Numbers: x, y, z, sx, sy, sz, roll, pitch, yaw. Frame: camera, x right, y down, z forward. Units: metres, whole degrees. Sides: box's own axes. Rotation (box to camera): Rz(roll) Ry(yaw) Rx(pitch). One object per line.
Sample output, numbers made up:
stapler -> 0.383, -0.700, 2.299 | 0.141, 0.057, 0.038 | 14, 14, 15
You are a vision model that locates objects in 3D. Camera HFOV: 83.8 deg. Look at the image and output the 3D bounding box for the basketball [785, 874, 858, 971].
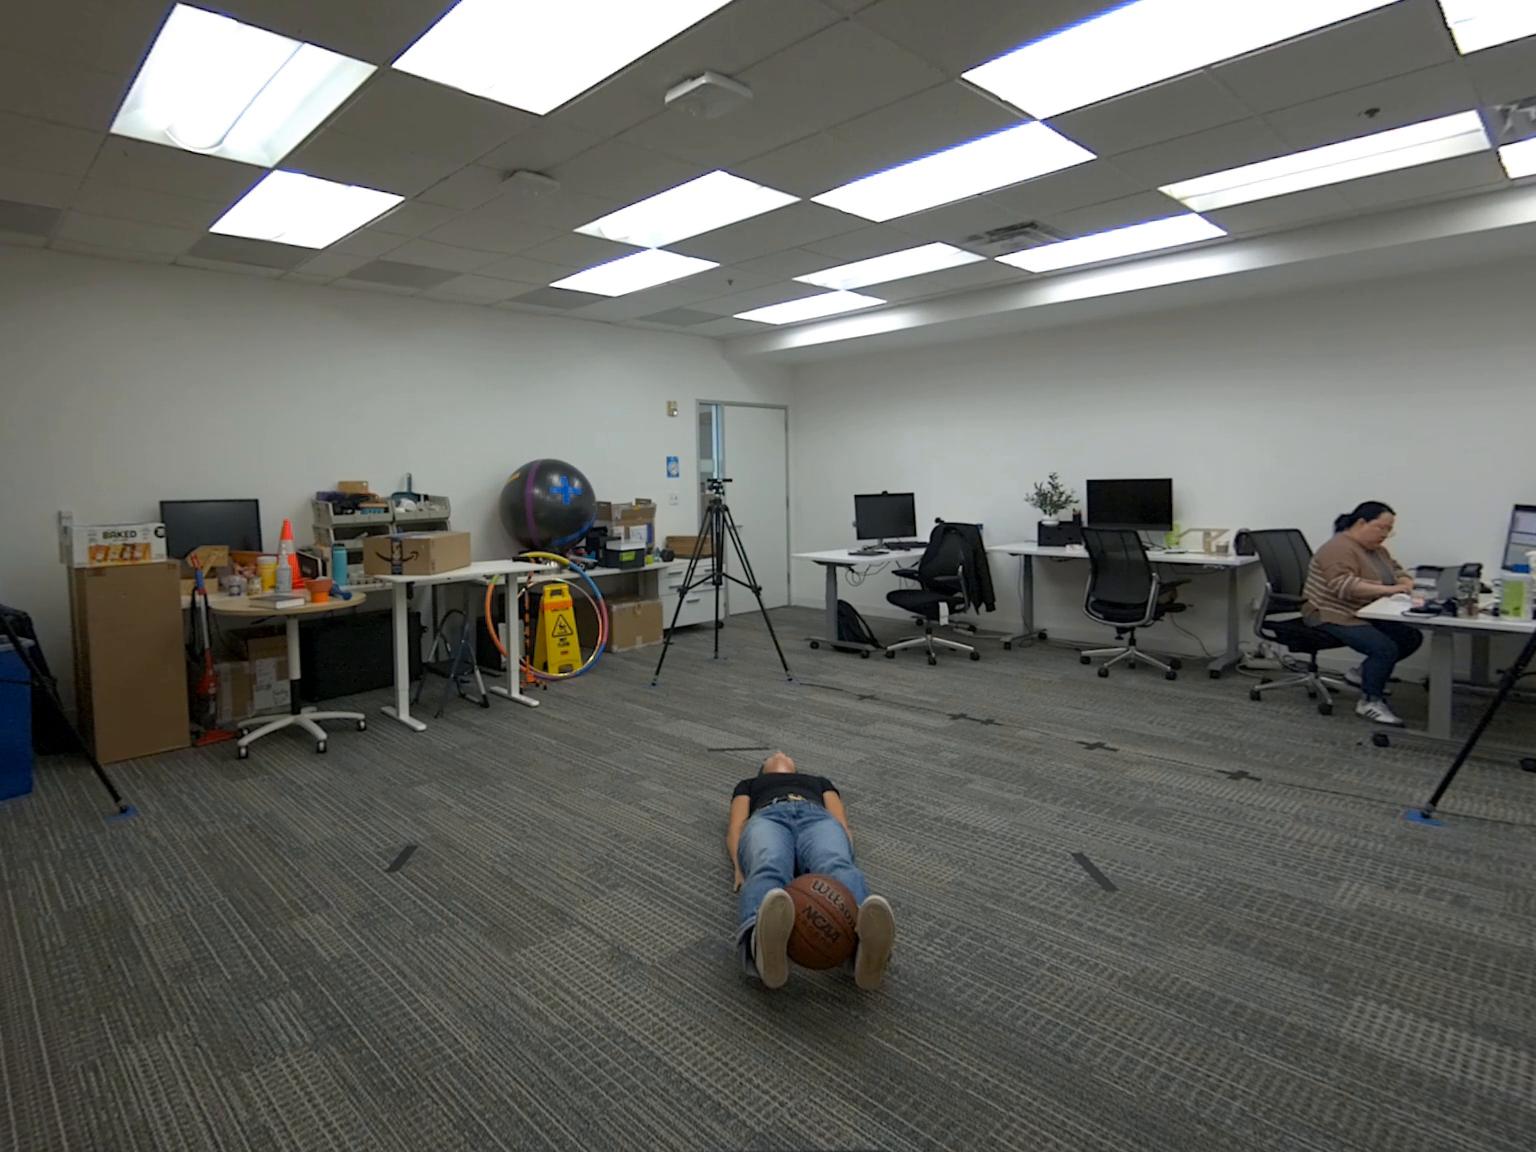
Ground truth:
basketball -> 0.140, 0.931, 2.315 | 0.236, 0.235, 0.237 | -1, 5, -2
